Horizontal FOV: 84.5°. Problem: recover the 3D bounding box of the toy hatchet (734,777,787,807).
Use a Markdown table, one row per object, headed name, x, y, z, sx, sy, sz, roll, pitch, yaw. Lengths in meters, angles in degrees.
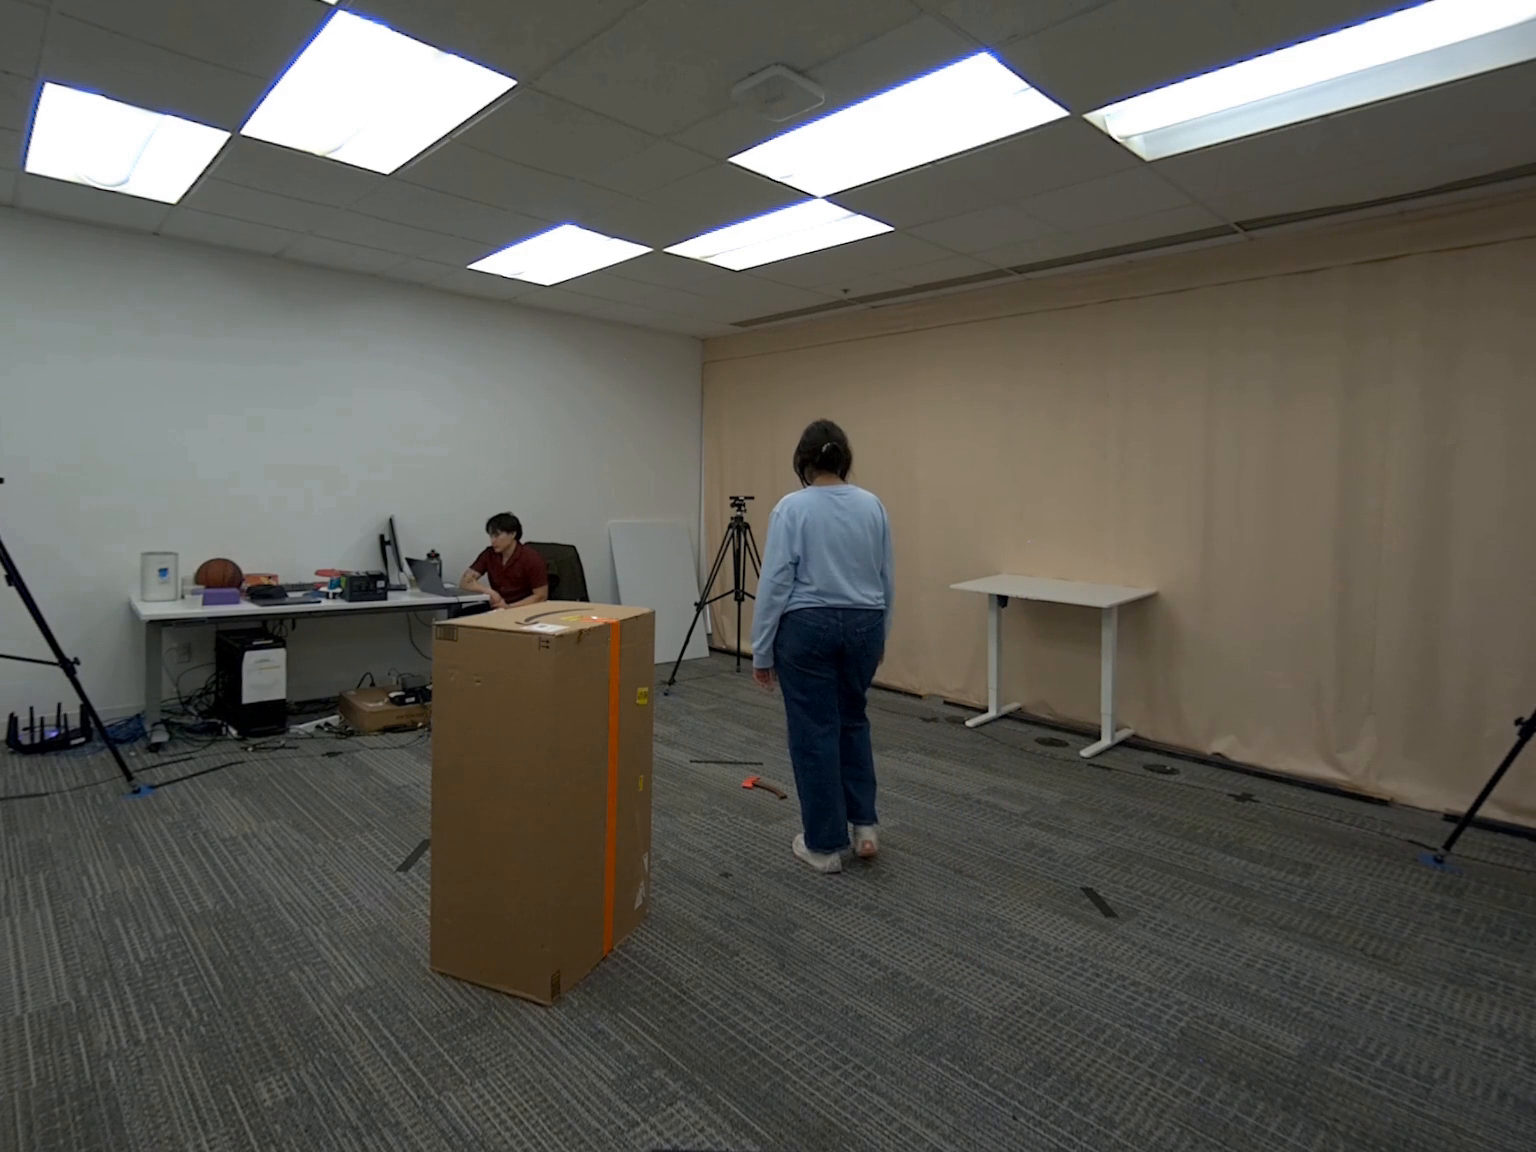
| name | x | y | z | sx | sy | sz | roll | pitch | yaw |
| --- | --- | --- | --- | --- | --- | --- | --- | --- | --- |
| toy hatchet | -0.041 | 1.023 | 4.025 | 0.128 | 0.029 | 0.276 | 0 | 7 | -29 |
